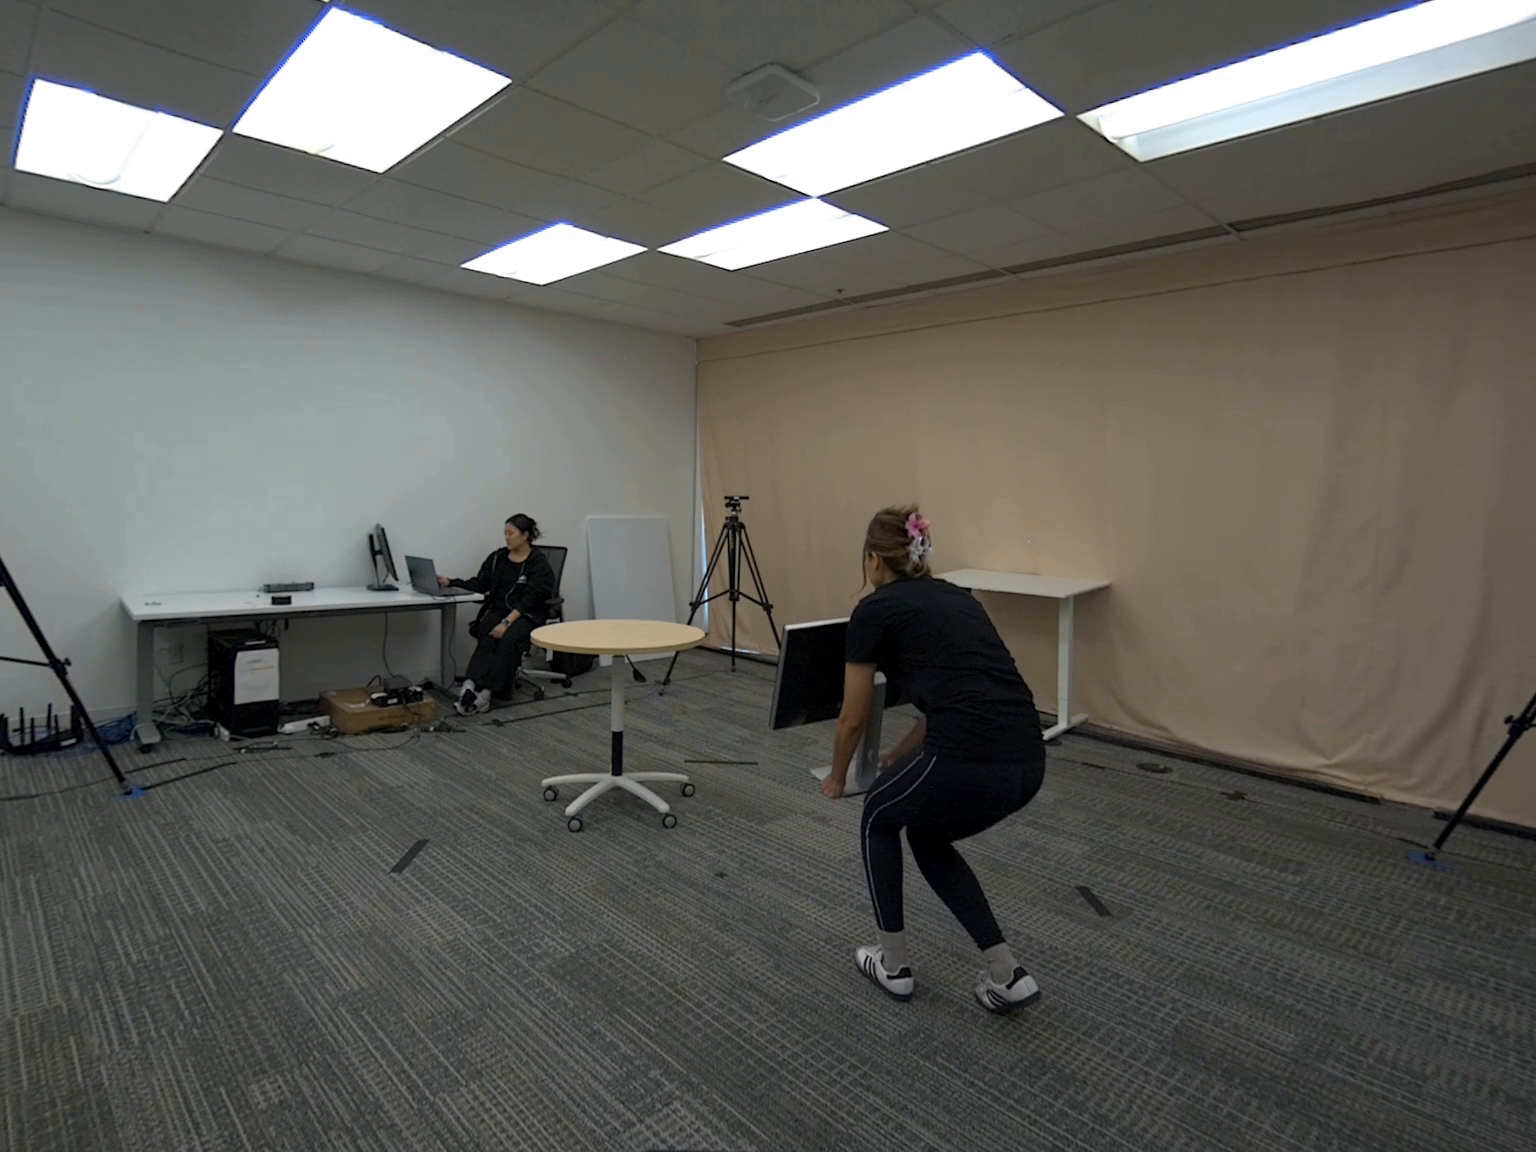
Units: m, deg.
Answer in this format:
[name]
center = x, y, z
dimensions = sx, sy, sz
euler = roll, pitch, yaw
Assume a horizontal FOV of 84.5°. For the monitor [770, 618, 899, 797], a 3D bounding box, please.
[monitor]
center = 0.288, 0.387, 2.649
dimensions = 0.530, 0.518, 0.192
euler = -6, 12, -28
